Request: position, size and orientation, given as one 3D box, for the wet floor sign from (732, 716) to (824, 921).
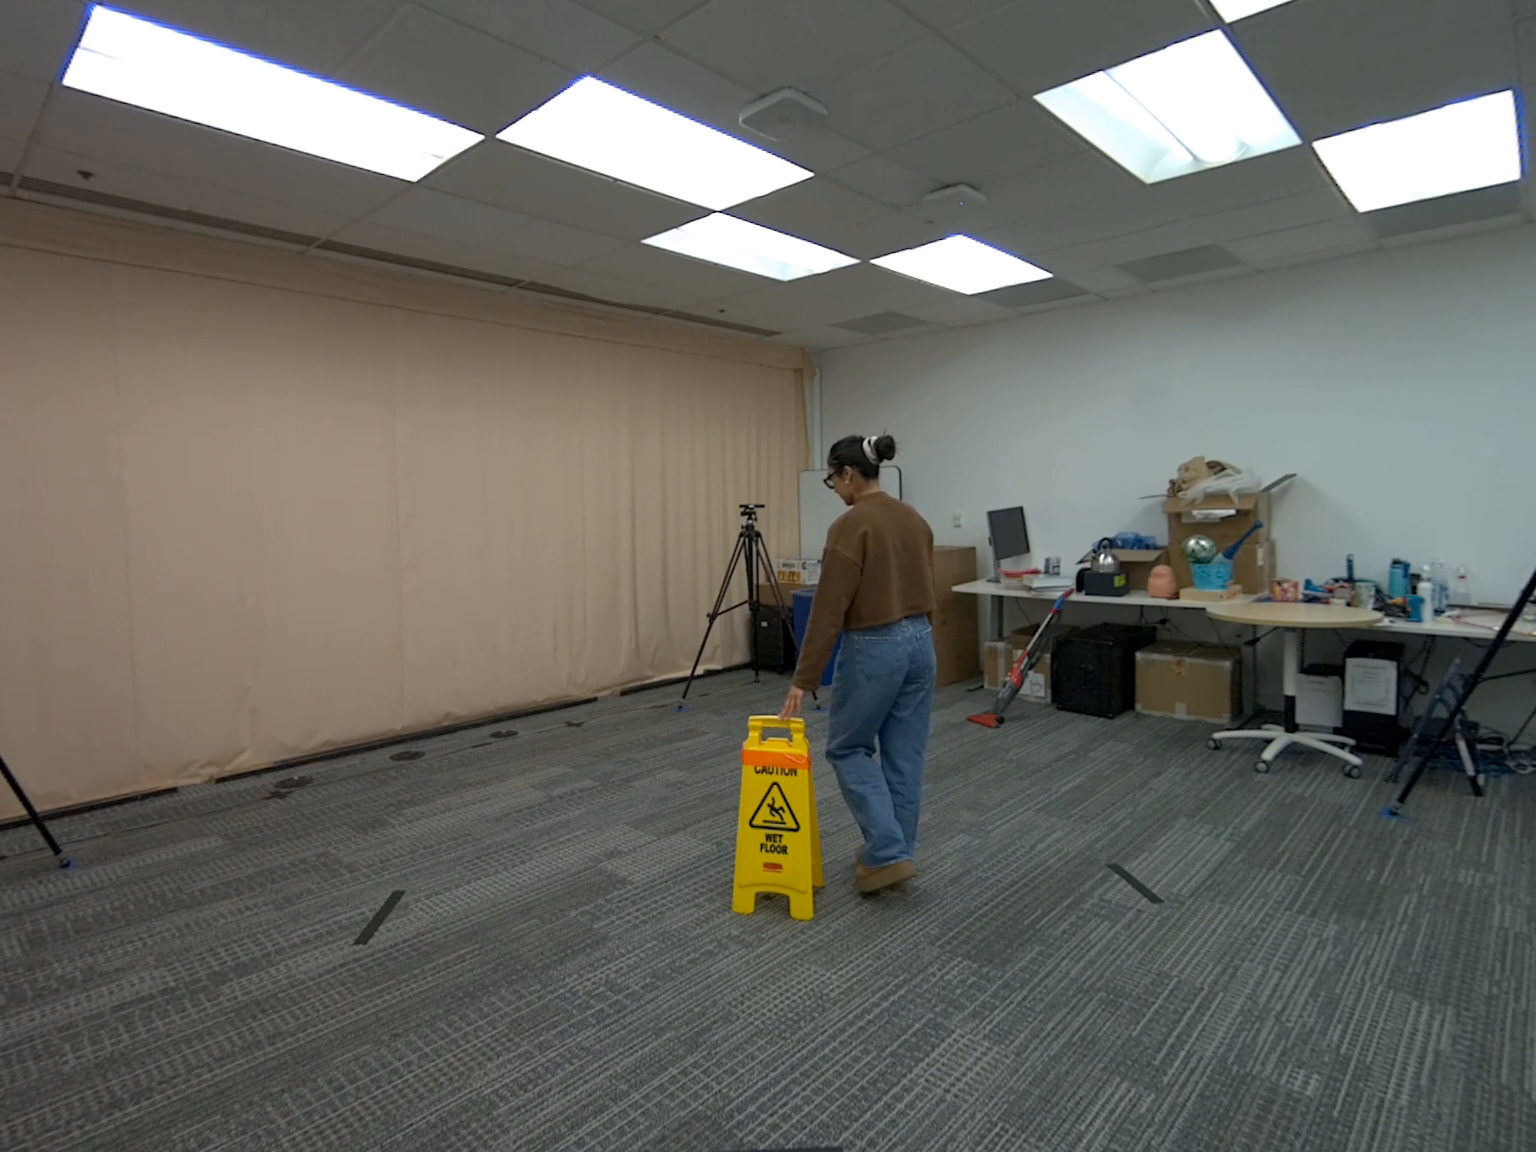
[{"bbox_3d":[0.041,0.818,2.967,0.286,0.645,0.286,1,3,13],"label":"wet floor sign"}]
